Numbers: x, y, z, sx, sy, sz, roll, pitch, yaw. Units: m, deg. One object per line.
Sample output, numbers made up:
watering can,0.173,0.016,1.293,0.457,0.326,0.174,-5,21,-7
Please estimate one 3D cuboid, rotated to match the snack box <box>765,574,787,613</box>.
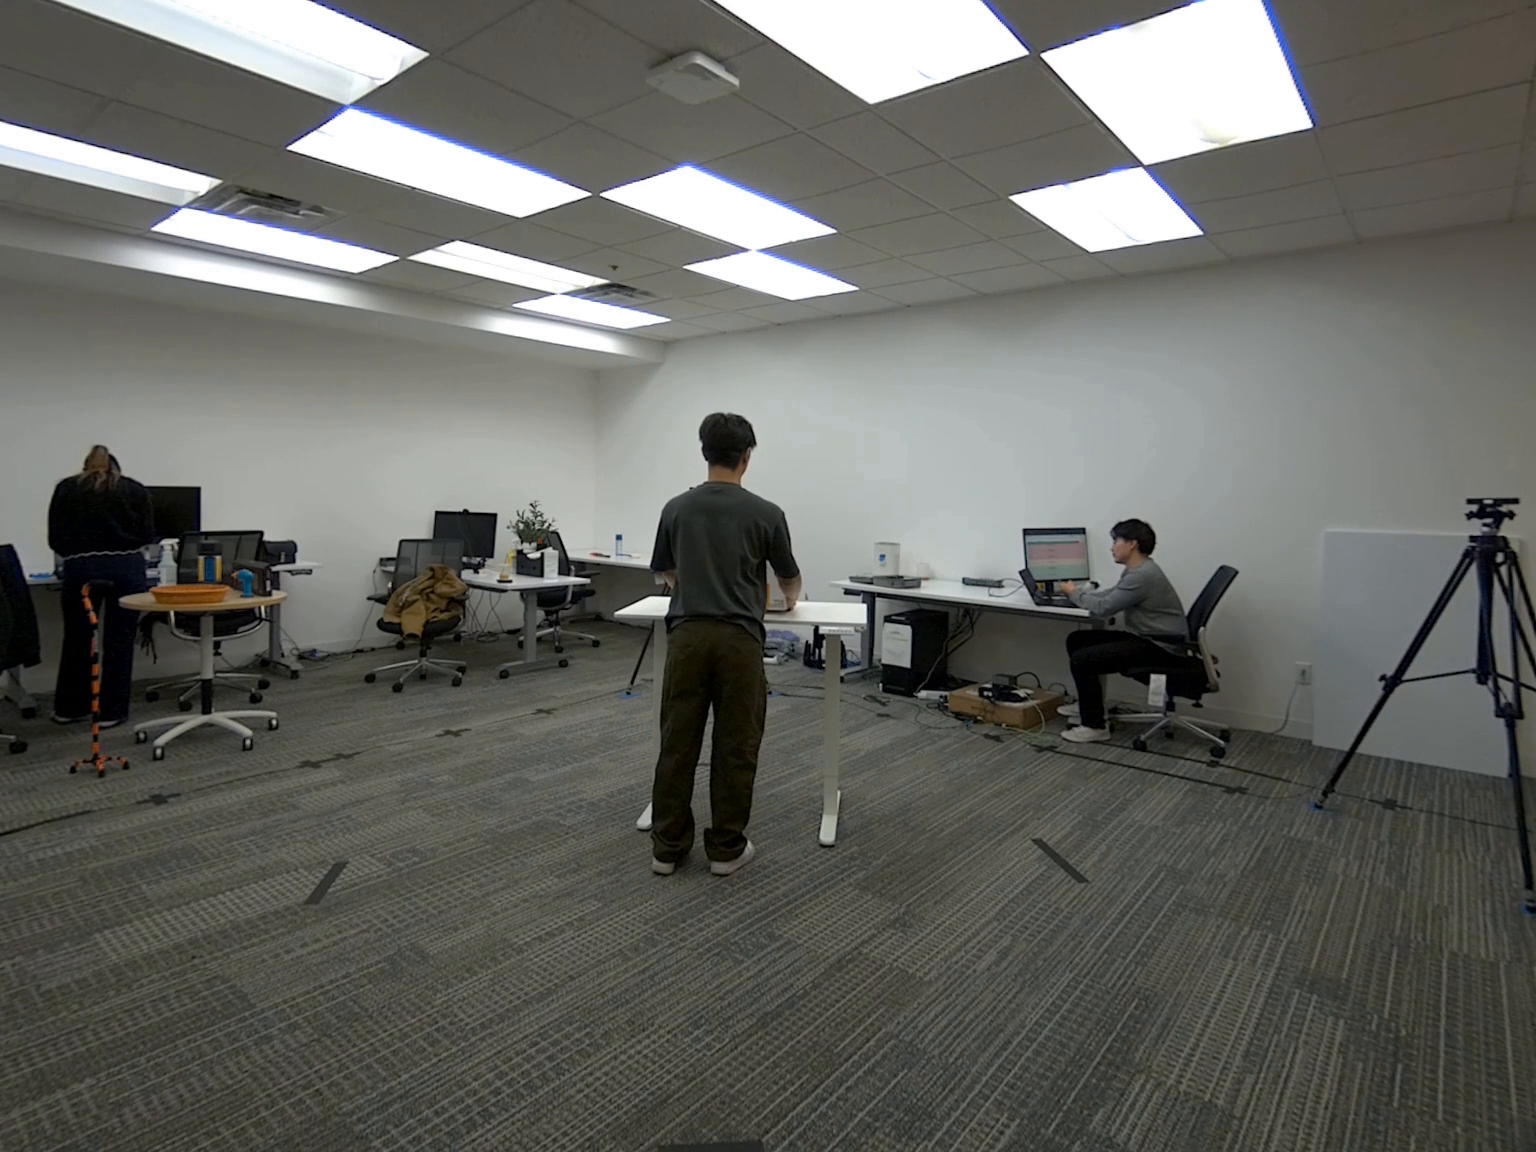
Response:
snack box,-0.111,0.023,3.631,0.411,0.205,0.336,2,3,11
